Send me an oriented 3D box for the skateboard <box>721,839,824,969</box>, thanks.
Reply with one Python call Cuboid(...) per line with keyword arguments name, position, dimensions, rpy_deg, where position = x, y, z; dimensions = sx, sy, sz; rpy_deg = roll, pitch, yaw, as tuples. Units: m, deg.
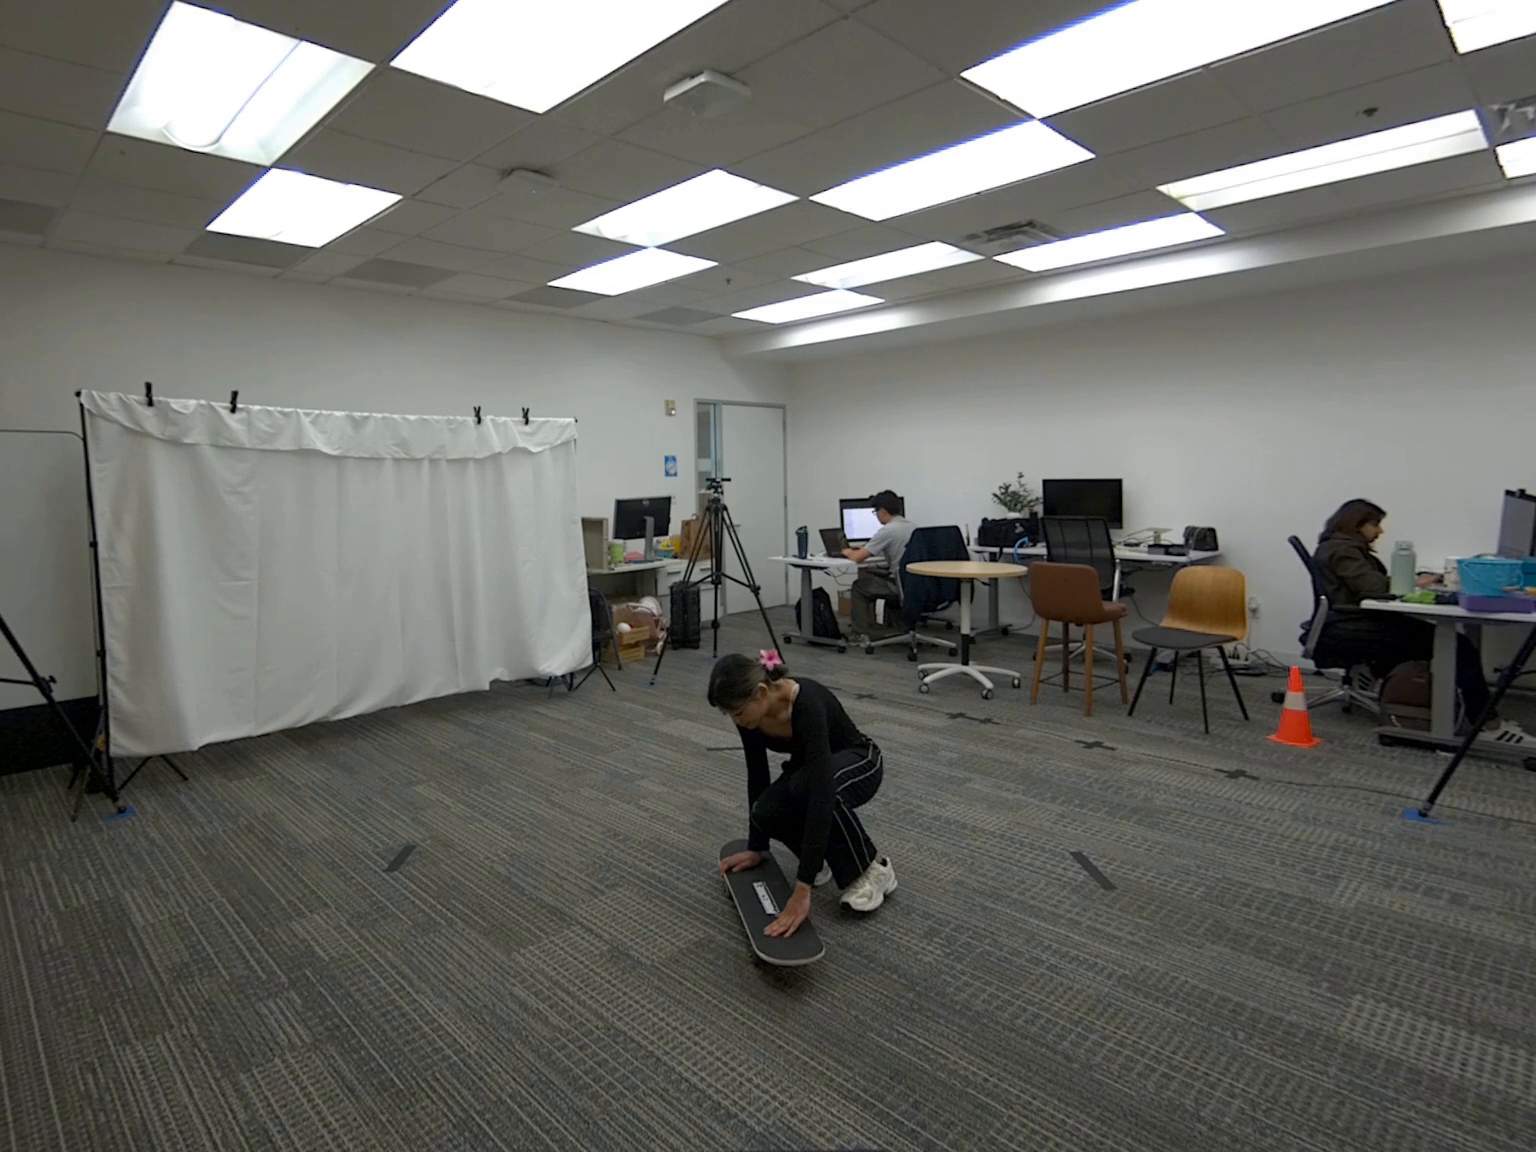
Cuboid(name="skateboard", position=(-0.003, 1.036, 2.667), dimensions=(0.191, 0.110, 0.798), rpy_deg=(-4, 6, -15))
